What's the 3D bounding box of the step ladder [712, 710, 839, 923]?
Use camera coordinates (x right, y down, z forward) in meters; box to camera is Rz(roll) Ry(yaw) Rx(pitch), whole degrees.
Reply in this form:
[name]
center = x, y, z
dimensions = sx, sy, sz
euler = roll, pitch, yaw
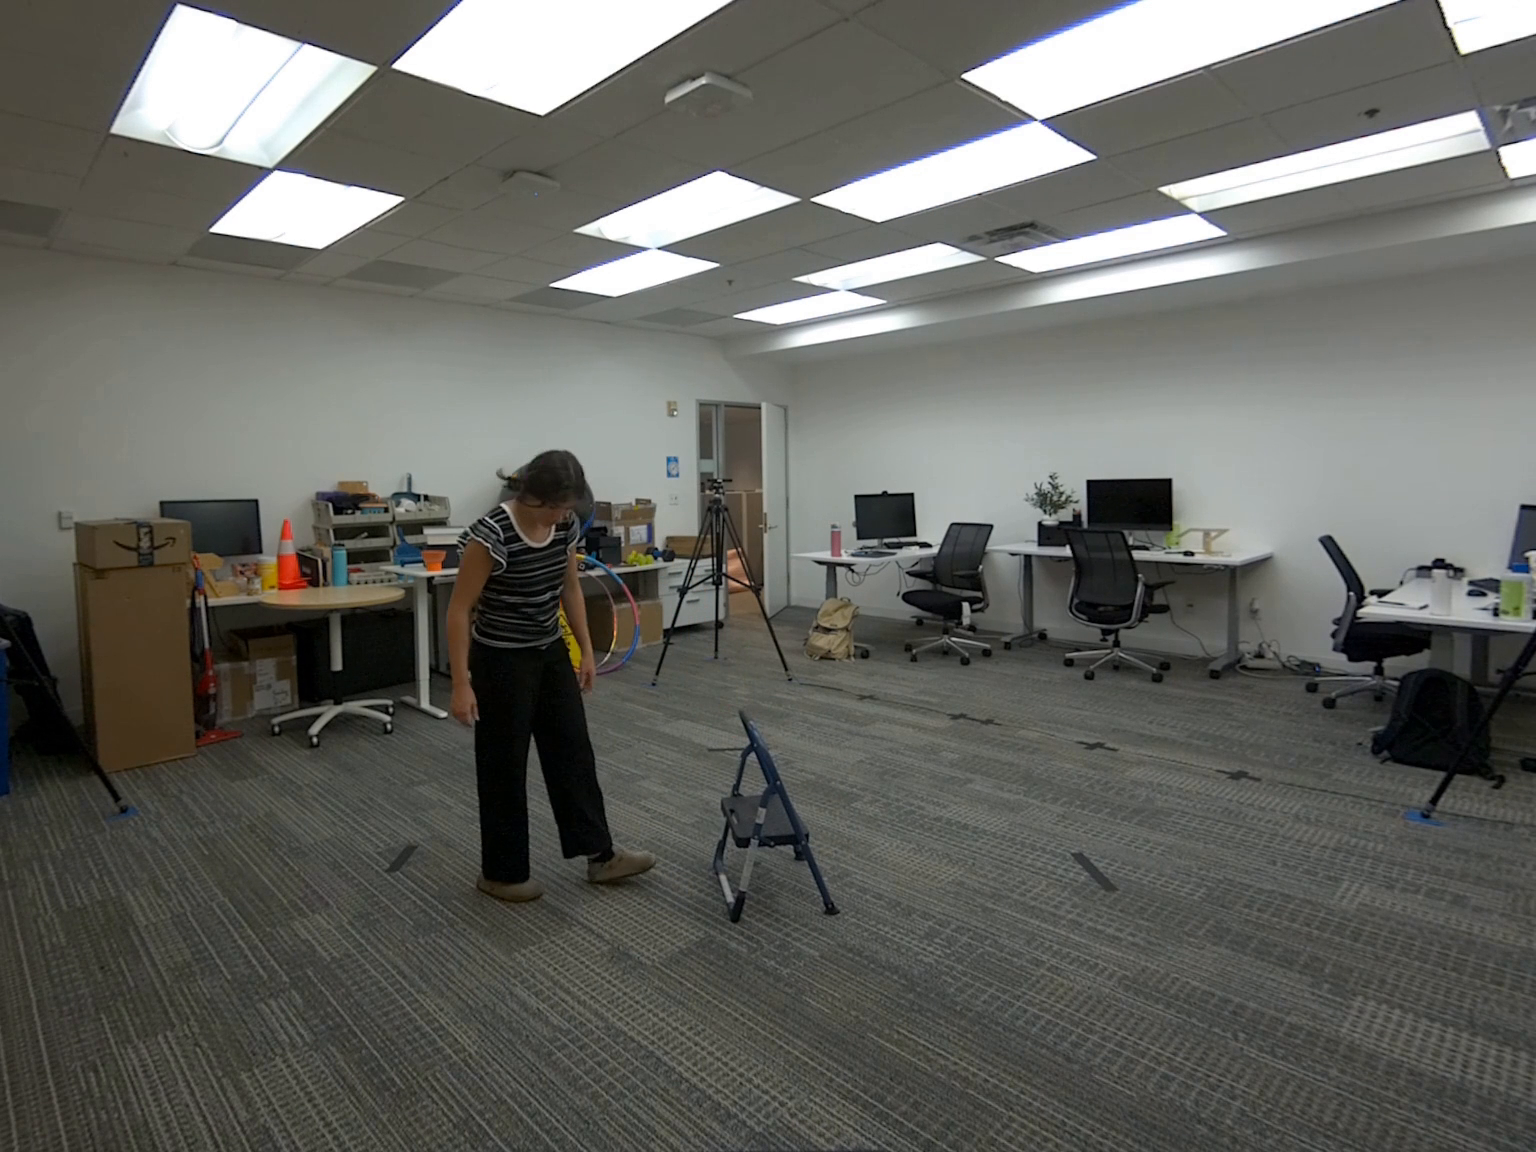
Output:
[step ladder]
center = 0.002, 0.765, 2.900
dimensions = 0.346, 0.604, 0.437
euler = -2, 5, -12
